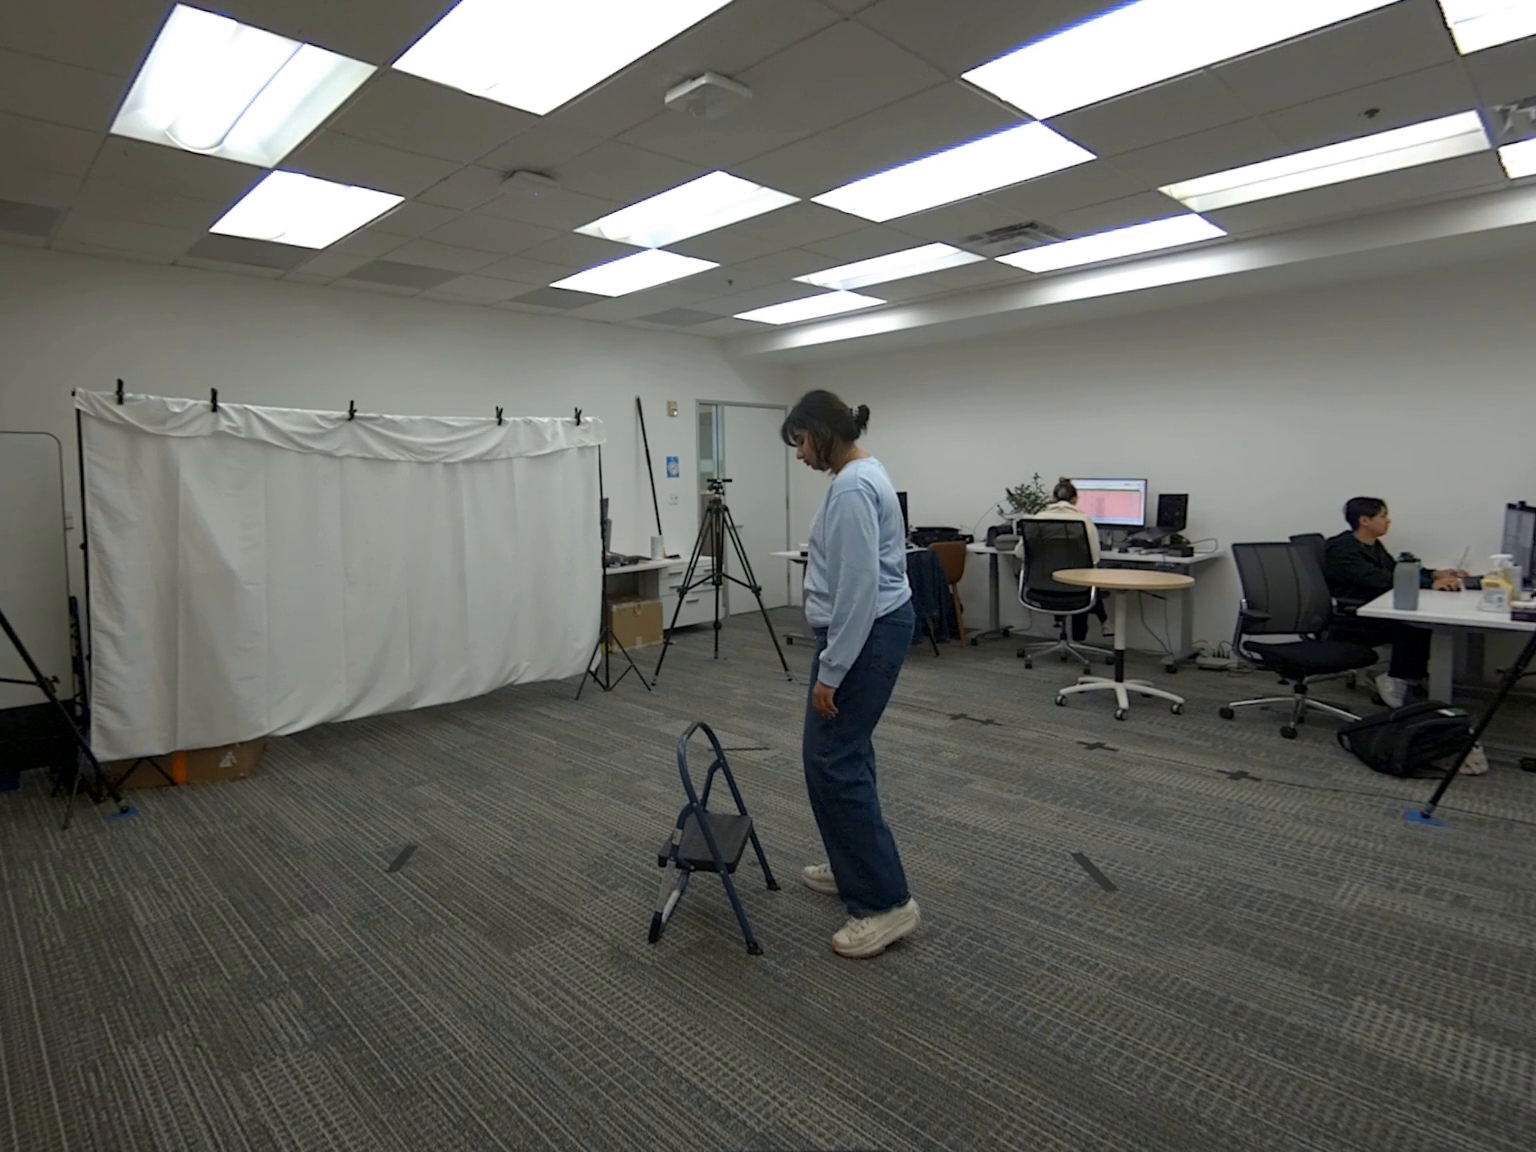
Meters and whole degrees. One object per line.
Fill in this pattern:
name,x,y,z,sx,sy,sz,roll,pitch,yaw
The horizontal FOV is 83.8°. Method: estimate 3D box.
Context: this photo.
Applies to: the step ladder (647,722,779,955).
step ladder,-0.164,0.790,2.728,0.353,0.604,0.428,0,4,10
